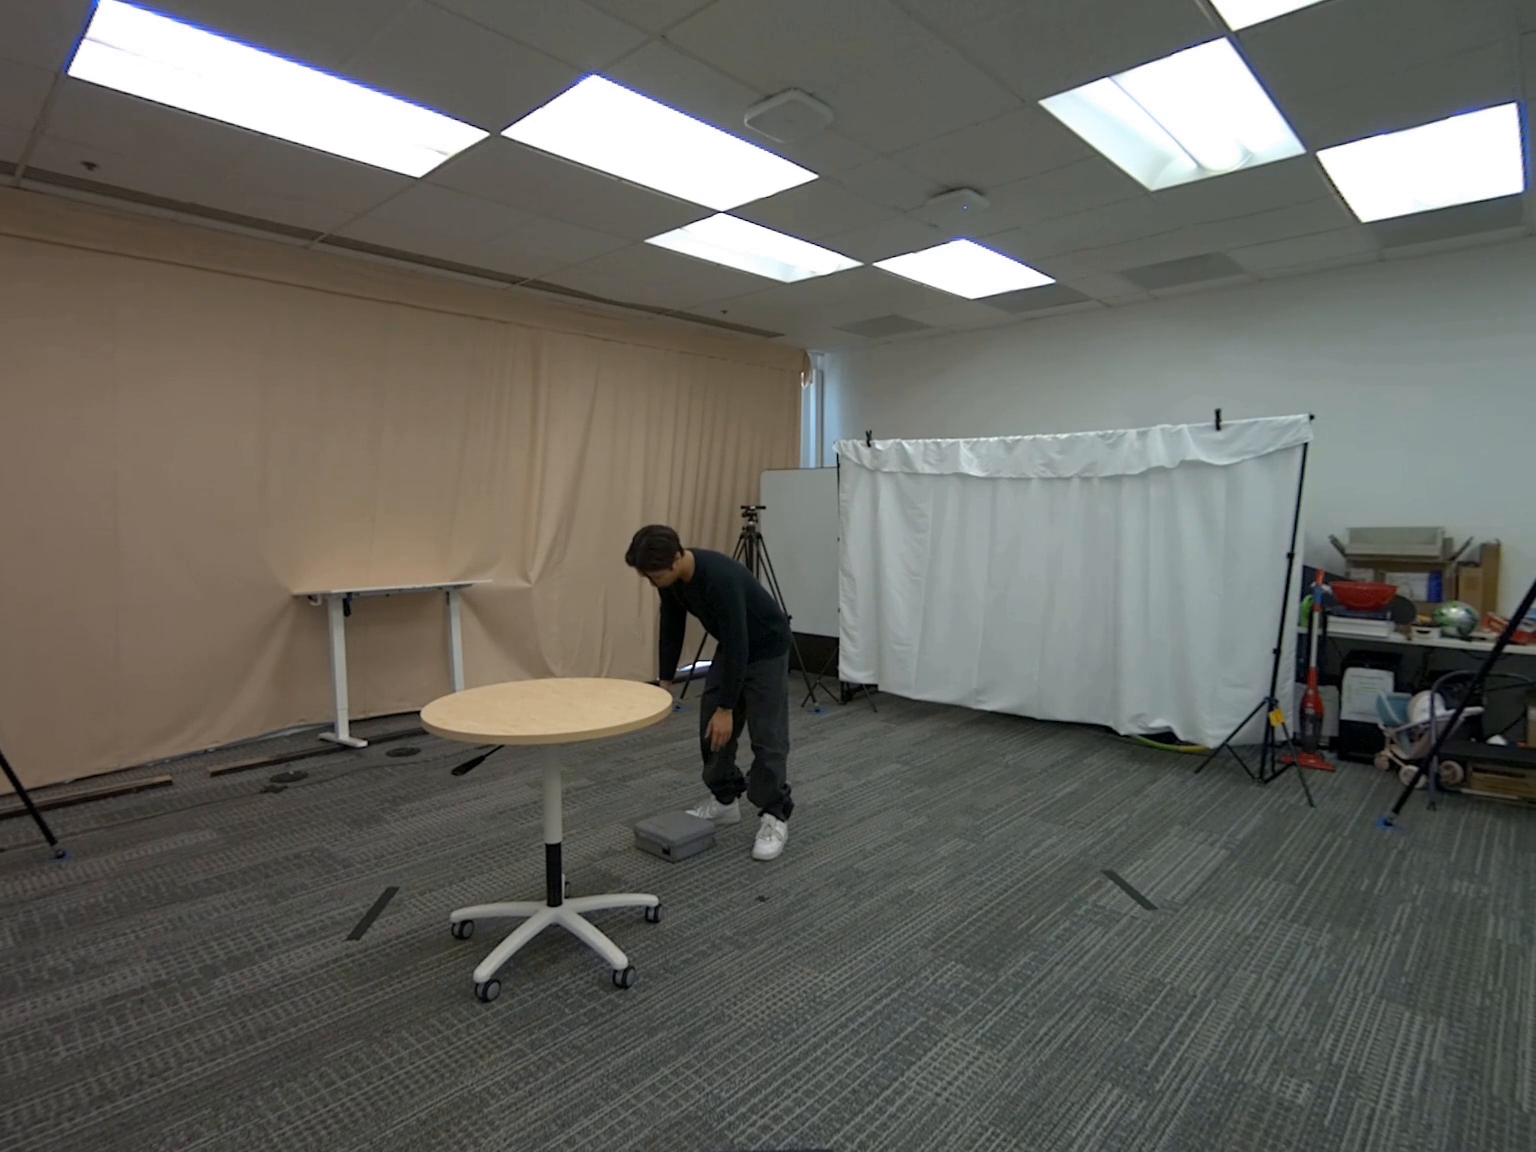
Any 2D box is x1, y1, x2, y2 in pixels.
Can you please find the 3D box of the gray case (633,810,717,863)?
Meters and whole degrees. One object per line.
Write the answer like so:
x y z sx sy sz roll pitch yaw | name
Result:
-0.383 1.056 3.441 0.265 0.104 0.252 2 4 43 | gray case
